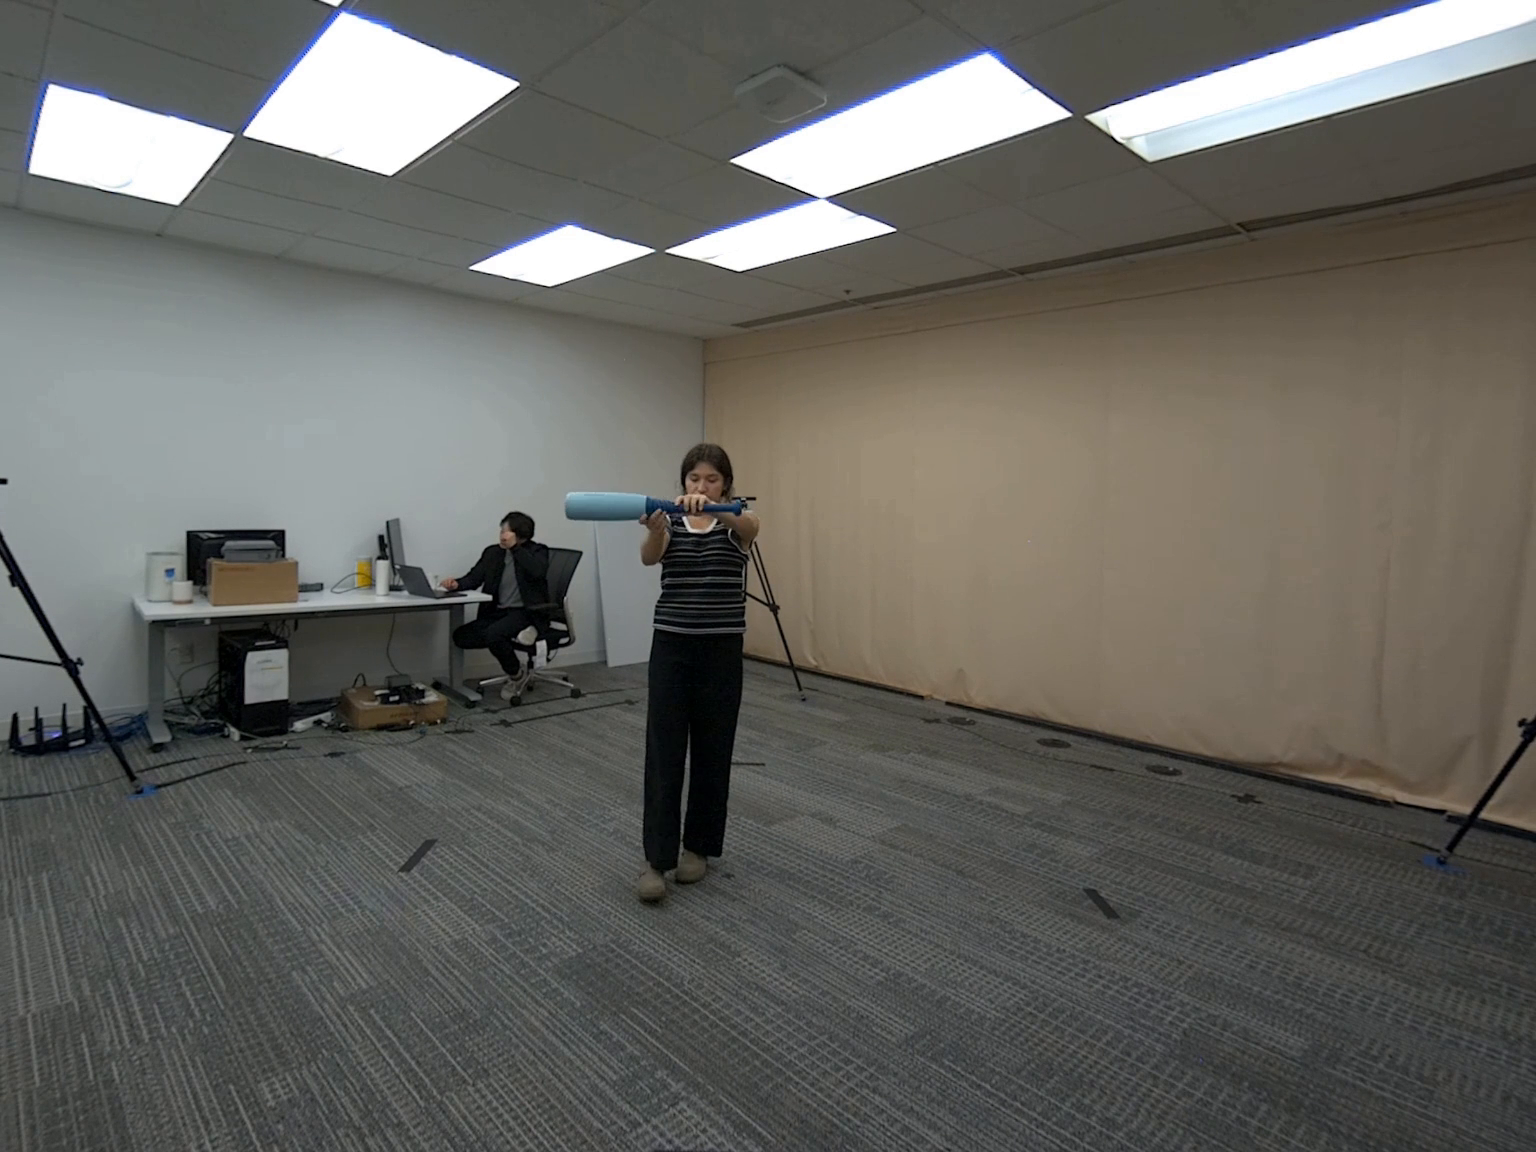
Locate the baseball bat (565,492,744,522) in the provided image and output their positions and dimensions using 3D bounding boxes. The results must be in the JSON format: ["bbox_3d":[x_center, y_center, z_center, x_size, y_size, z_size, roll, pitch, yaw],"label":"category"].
[{"bbox_3d":[-0.367,-0.207,2.564,0.545,0.089,0.089,1,4,5],"label":"baseball bat"}]
